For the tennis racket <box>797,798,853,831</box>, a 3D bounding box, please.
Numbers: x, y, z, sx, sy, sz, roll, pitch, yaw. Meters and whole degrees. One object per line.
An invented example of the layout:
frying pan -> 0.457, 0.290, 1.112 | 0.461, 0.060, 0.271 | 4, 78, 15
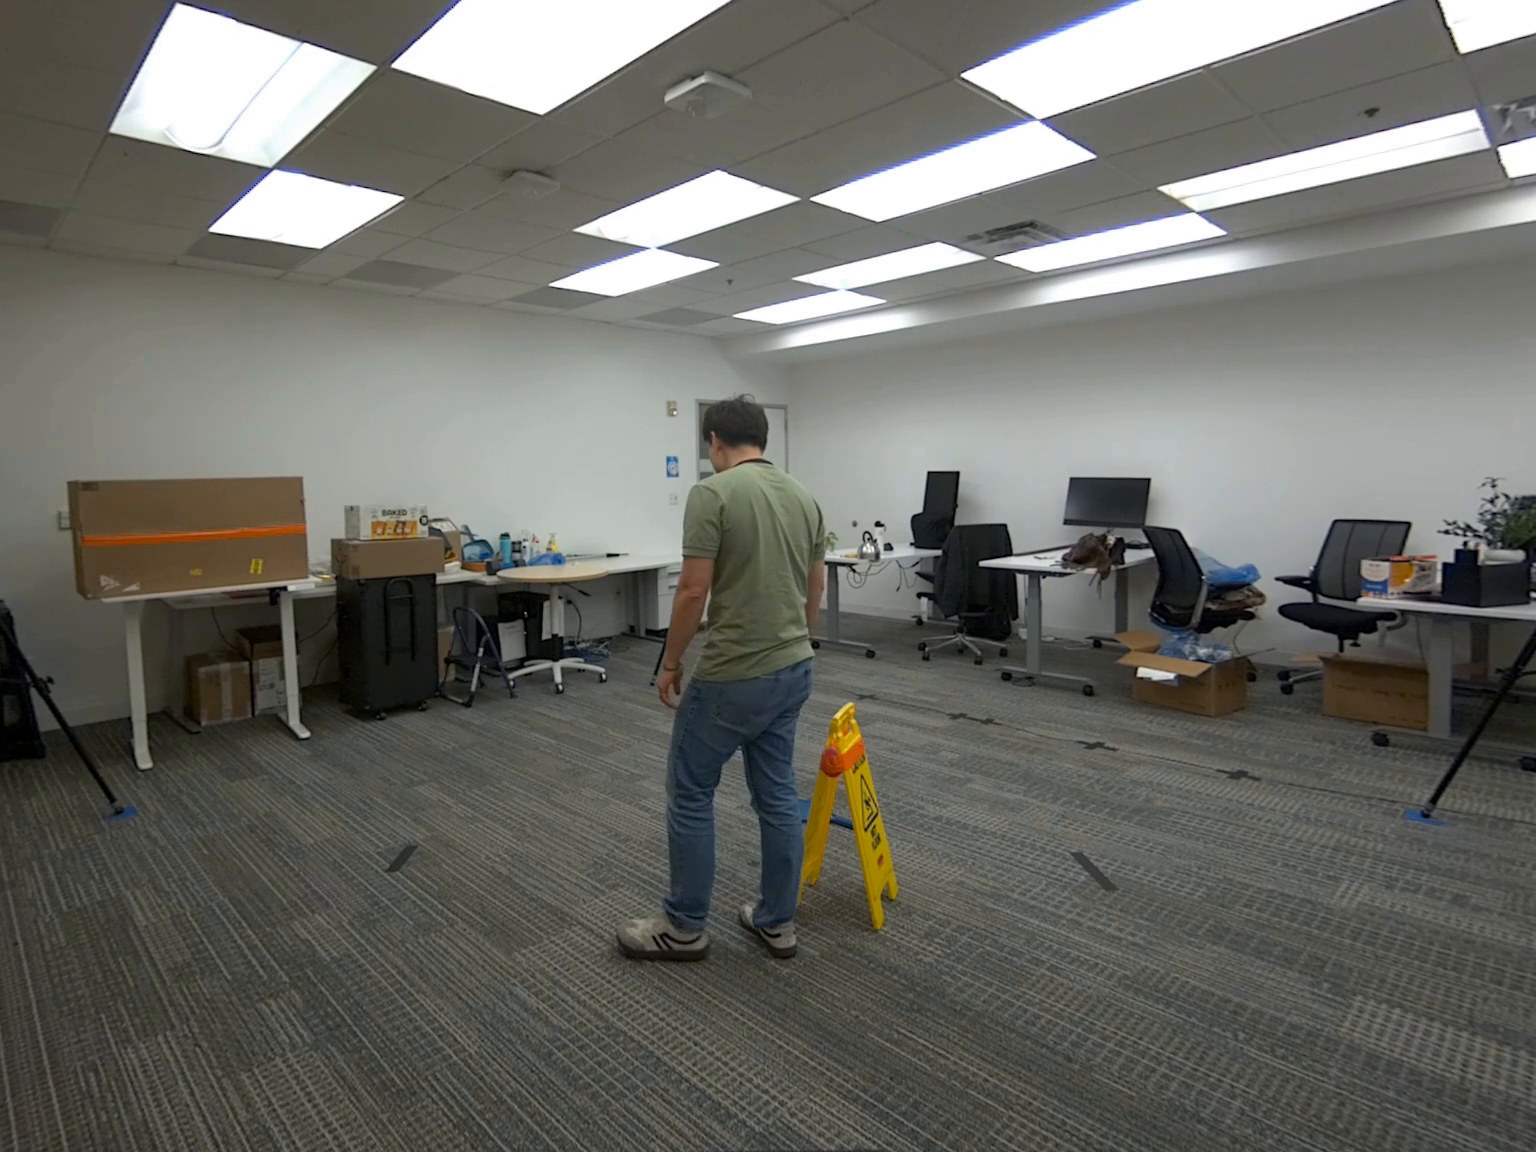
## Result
tennis racket -> 0.206, 0.981, 3.516 | 0.446, 0.031, 0.208 | 4, 7, 43
